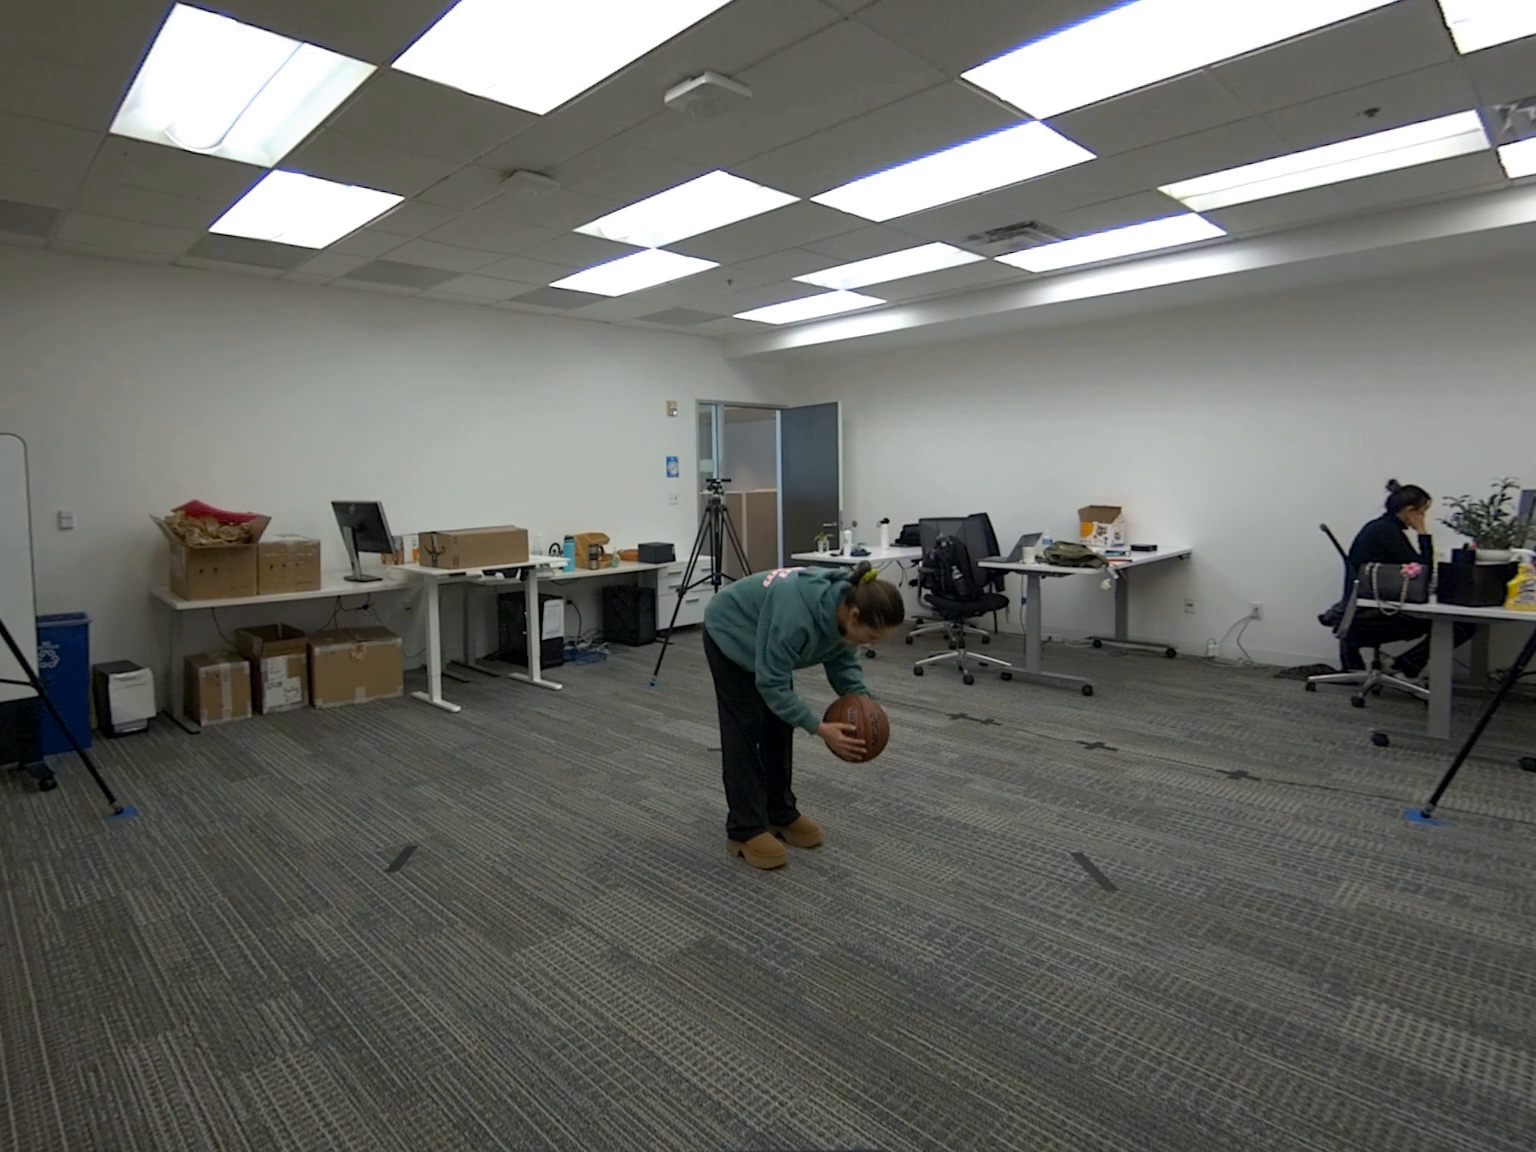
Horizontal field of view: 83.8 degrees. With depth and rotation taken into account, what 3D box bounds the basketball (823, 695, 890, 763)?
[{"bbox_3d":[0.313,0.529,2.986,0.236,0.235,0.237,-1,5,-2],"label":"basketball"}]
